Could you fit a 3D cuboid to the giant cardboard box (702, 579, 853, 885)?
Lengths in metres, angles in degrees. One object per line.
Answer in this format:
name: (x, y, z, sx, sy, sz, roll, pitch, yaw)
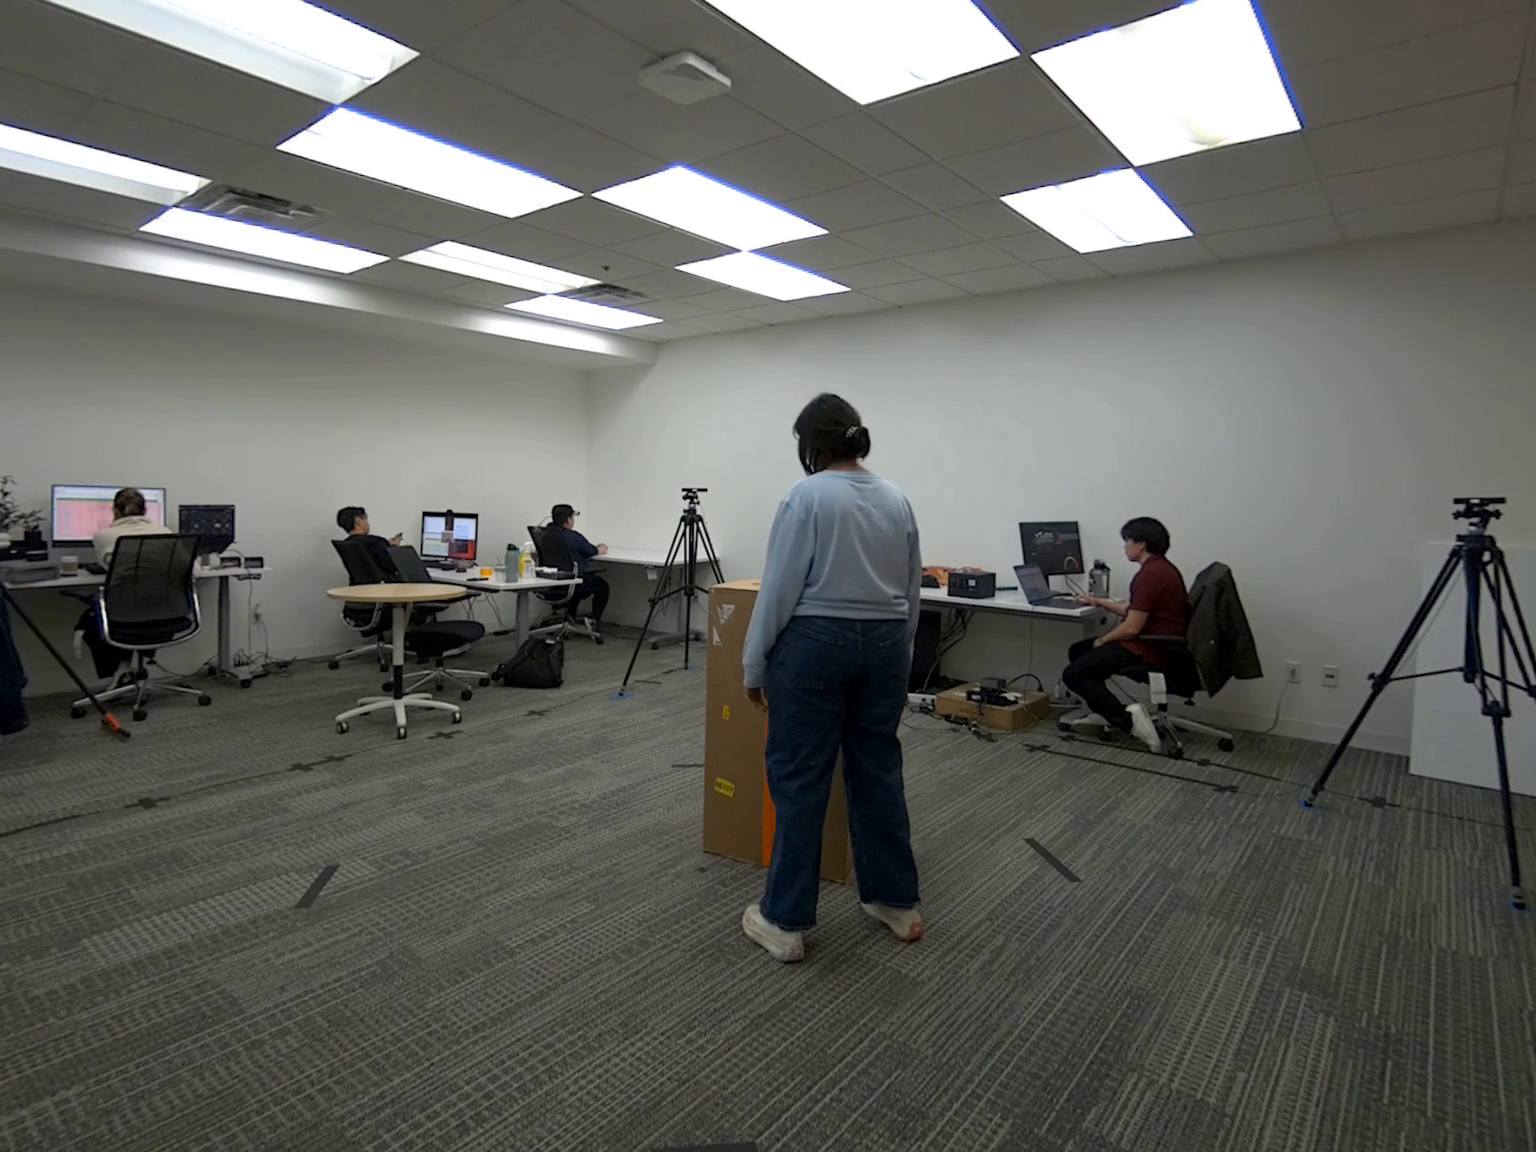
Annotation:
giant cardboard box: (0.097, 0.550, 3.294, 0.593, 1.023, 0.416, 3, 3, 25)
